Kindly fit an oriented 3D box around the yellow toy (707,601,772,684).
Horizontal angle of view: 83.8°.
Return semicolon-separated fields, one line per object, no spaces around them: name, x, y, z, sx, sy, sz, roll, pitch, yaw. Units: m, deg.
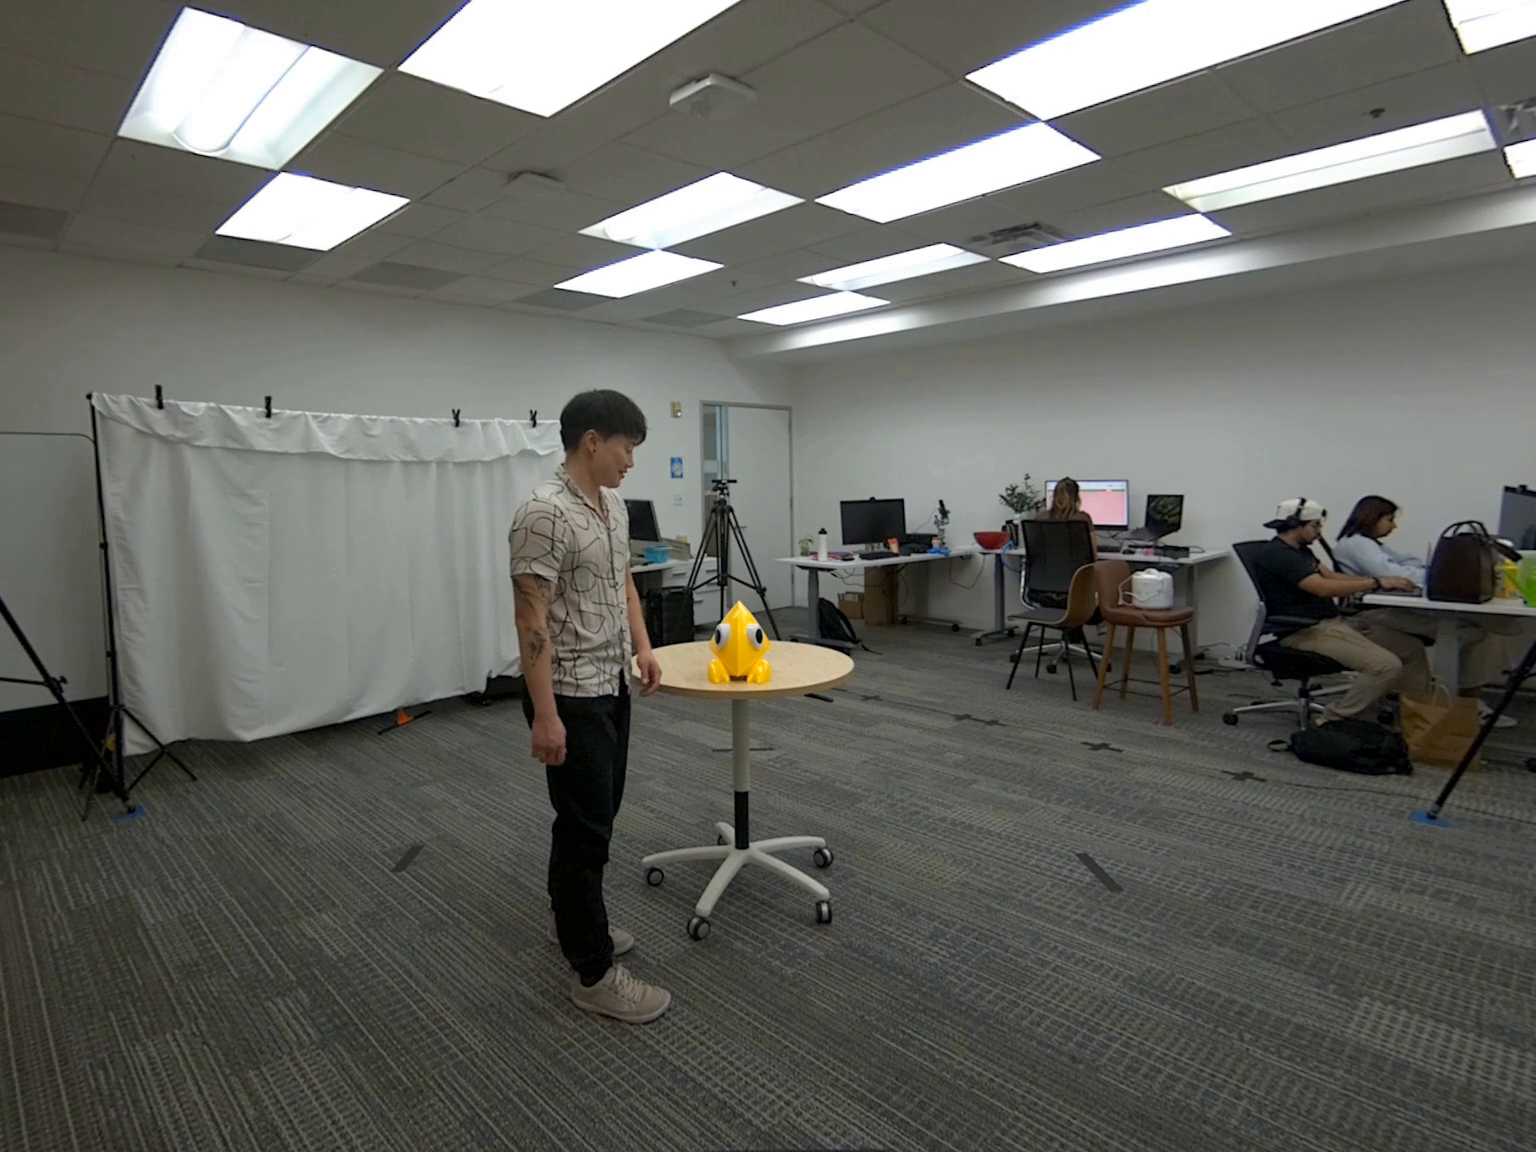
yellow toy;-0.088;0.201;2.670;0.205;0.230;0.193;-1;3;2
